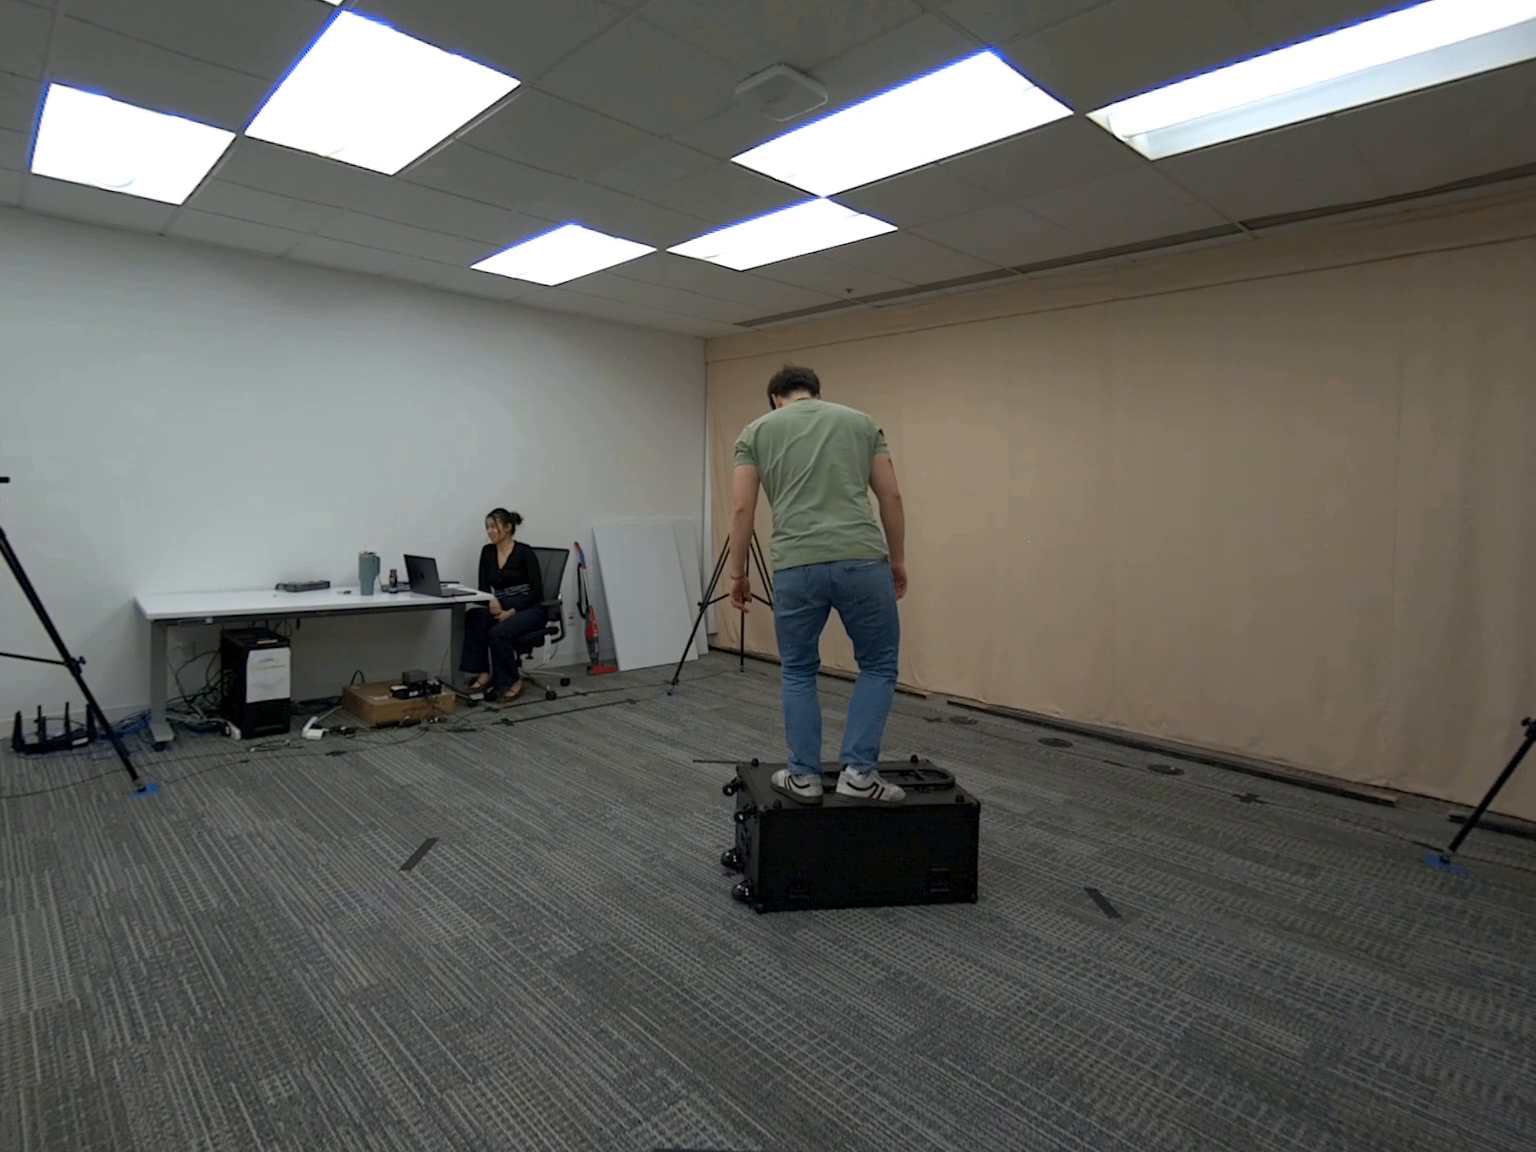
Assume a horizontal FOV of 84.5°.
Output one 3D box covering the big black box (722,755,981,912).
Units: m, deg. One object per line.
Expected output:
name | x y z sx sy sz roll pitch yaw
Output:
big black box | 0.267 0.924 3.086 0.855 0.395 0.527 -1 5 -10
